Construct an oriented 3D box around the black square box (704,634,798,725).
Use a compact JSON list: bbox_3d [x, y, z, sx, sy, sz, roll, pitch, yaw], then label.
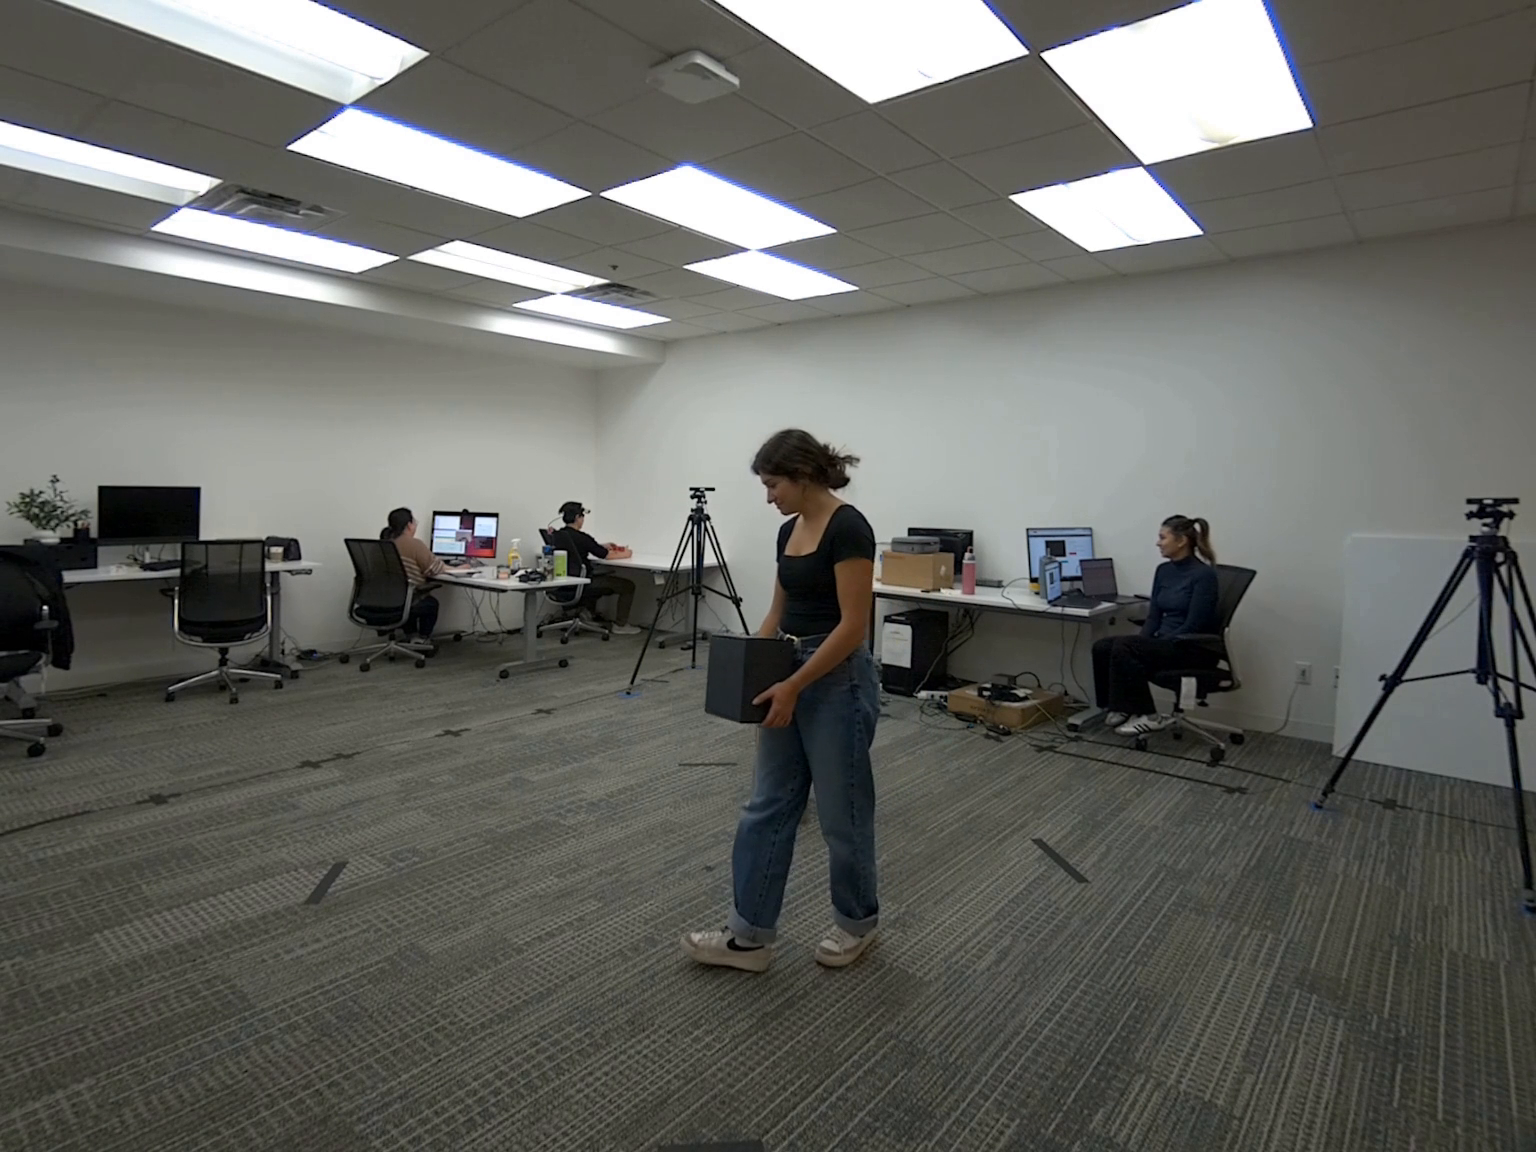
[{"bbox_3d":[-0.068,0.280,2.419,0.151,0.229,0.222,6,-5,-29],"label":"black square box"}]
